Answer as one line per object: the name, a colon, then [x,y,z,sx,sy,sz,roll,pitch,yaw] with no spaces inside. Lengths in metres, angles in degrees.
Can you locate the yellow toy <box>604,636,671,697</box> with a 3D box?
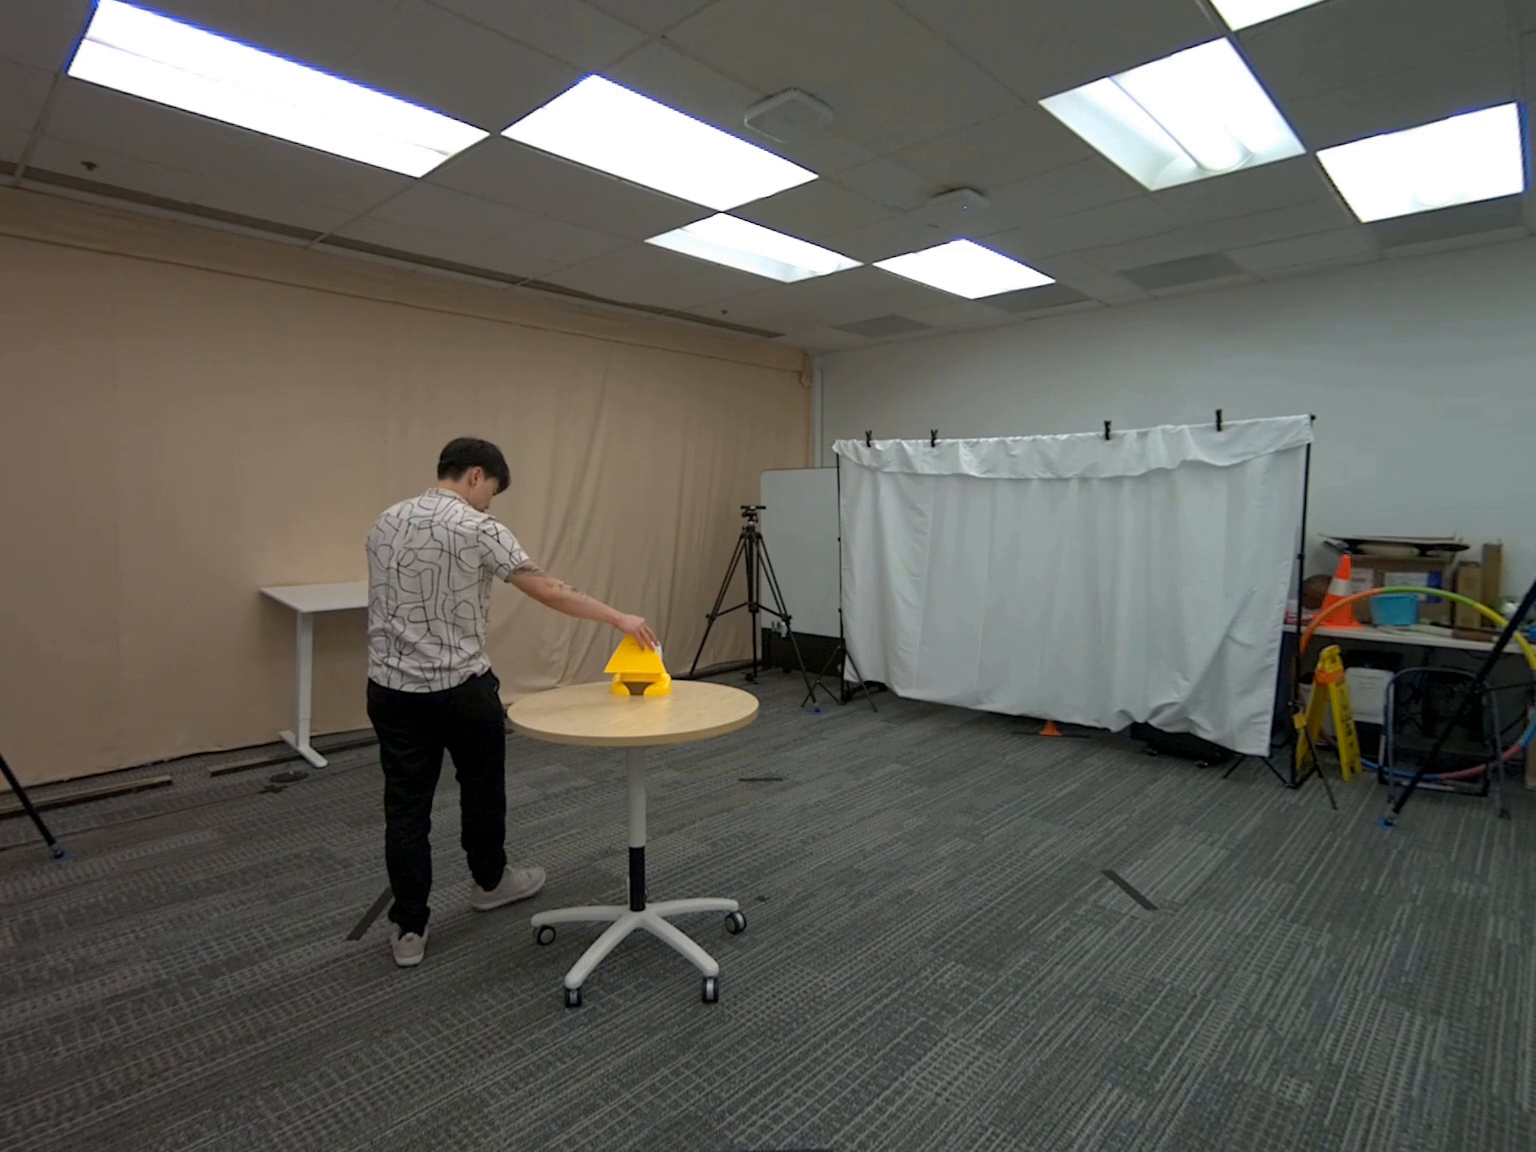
yellow toy: [-0.421,0.270,2.775,0.206,0.230,0.192,-1,3,4]
